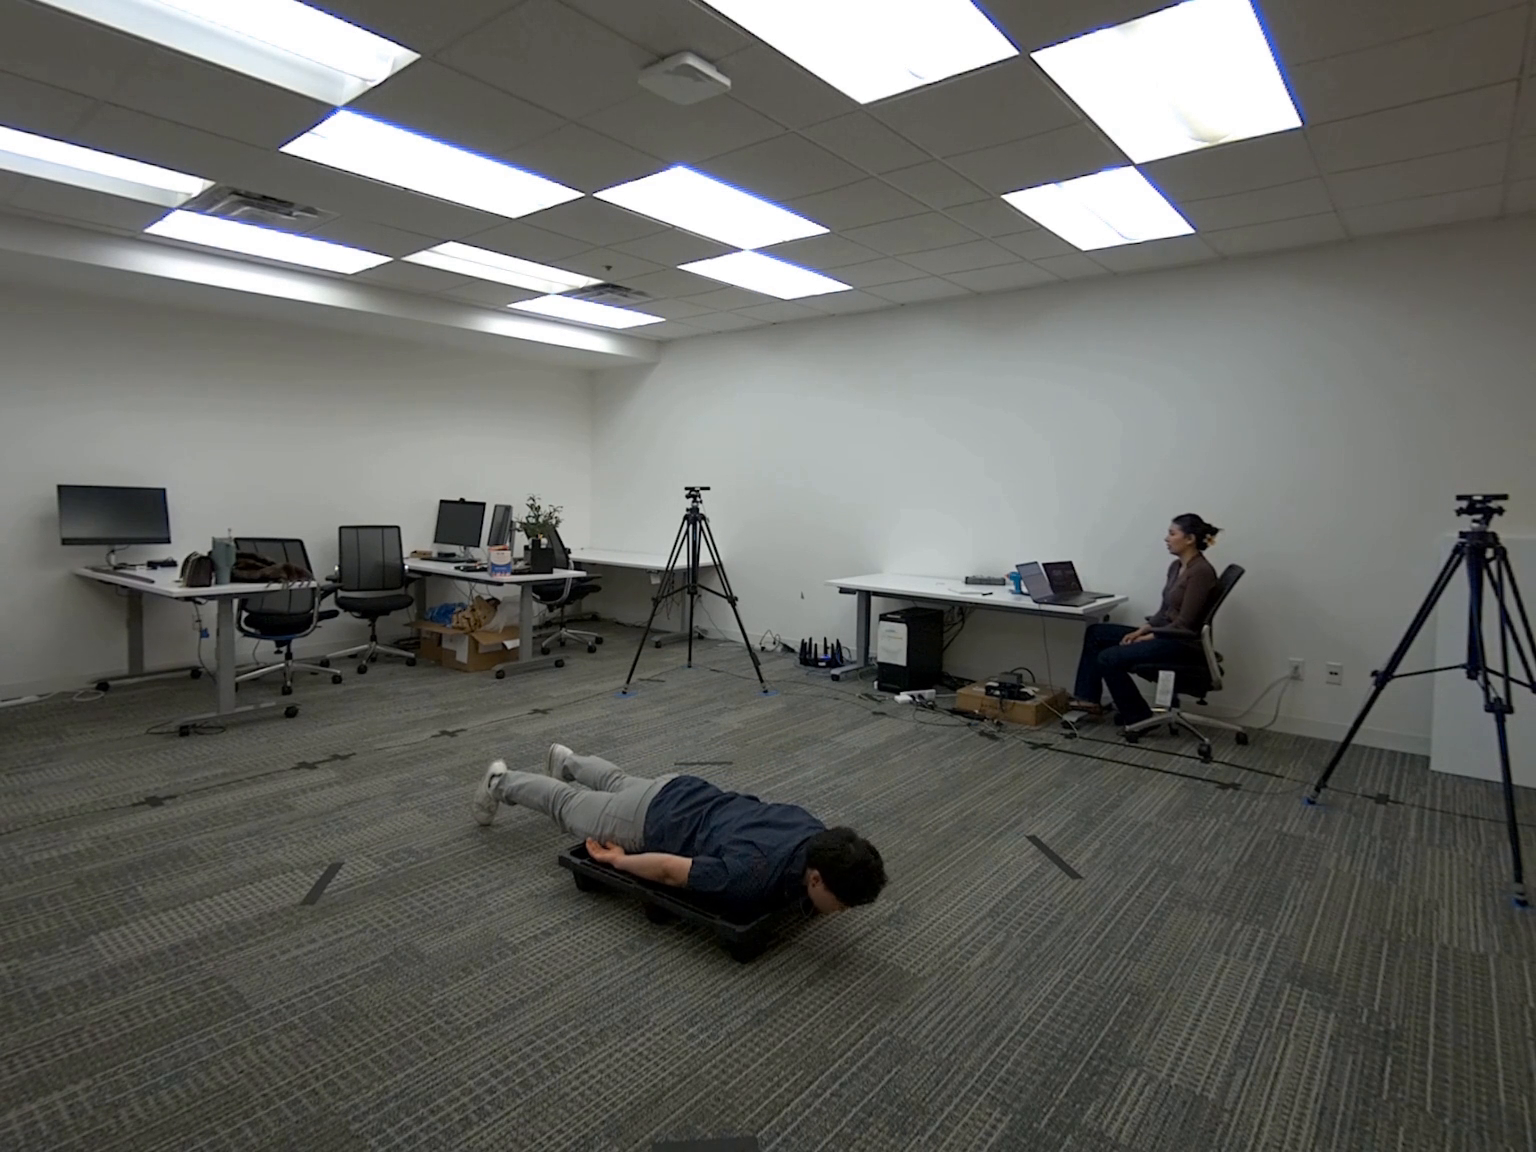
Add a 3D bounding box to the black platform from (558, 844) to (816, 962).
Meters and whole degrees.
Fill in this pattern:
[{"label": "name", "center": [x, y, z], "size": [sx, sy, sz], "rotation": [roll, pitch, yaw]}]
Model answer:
[{"label": "black platform", "center": [-0.241, 1.028, 2.882], "size": [0.832, 0.143, 0.588], "rotation": [5, 7, 36]}]
